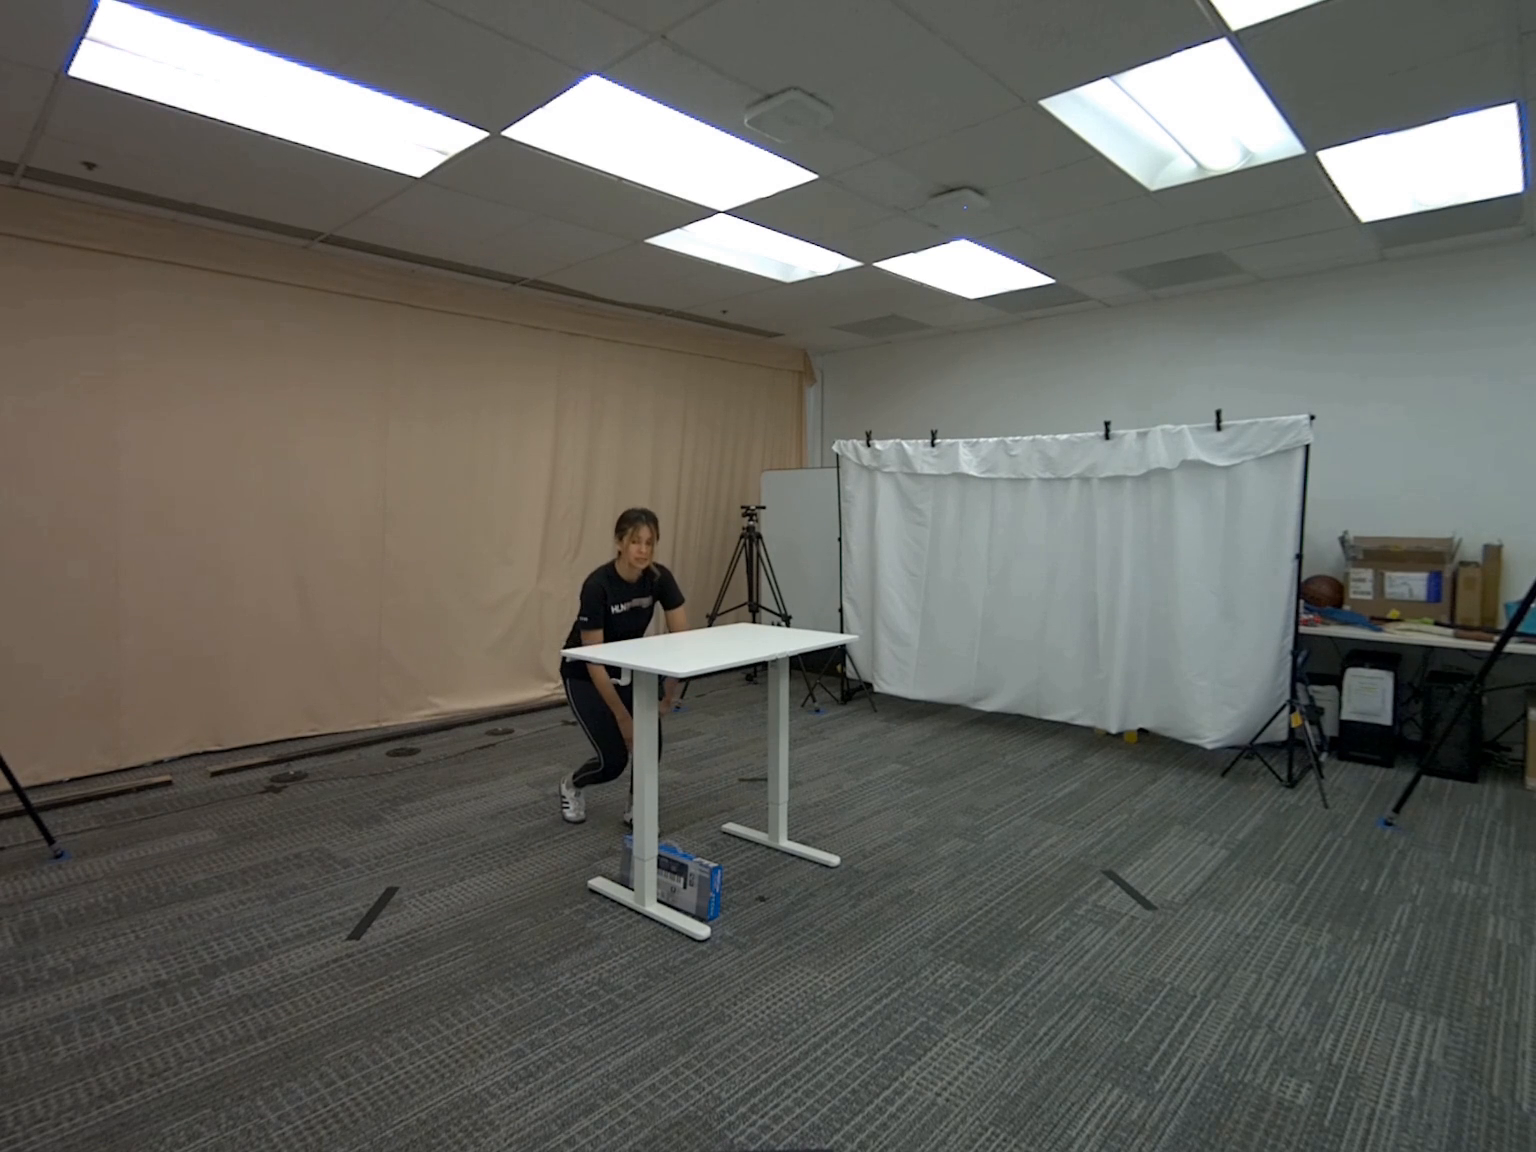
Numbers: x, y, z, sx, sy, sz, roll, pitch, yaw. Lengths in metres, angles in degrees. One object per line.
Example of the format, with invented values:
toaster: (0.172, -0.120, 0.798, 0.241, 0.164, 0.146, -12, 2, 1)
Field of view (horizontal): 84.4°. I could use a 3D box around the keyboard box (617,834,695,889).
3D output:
keyboard box: (-0.352, 1.060, 2.972, 0.451, 0.176, 0.057, 3, -4, 39)
